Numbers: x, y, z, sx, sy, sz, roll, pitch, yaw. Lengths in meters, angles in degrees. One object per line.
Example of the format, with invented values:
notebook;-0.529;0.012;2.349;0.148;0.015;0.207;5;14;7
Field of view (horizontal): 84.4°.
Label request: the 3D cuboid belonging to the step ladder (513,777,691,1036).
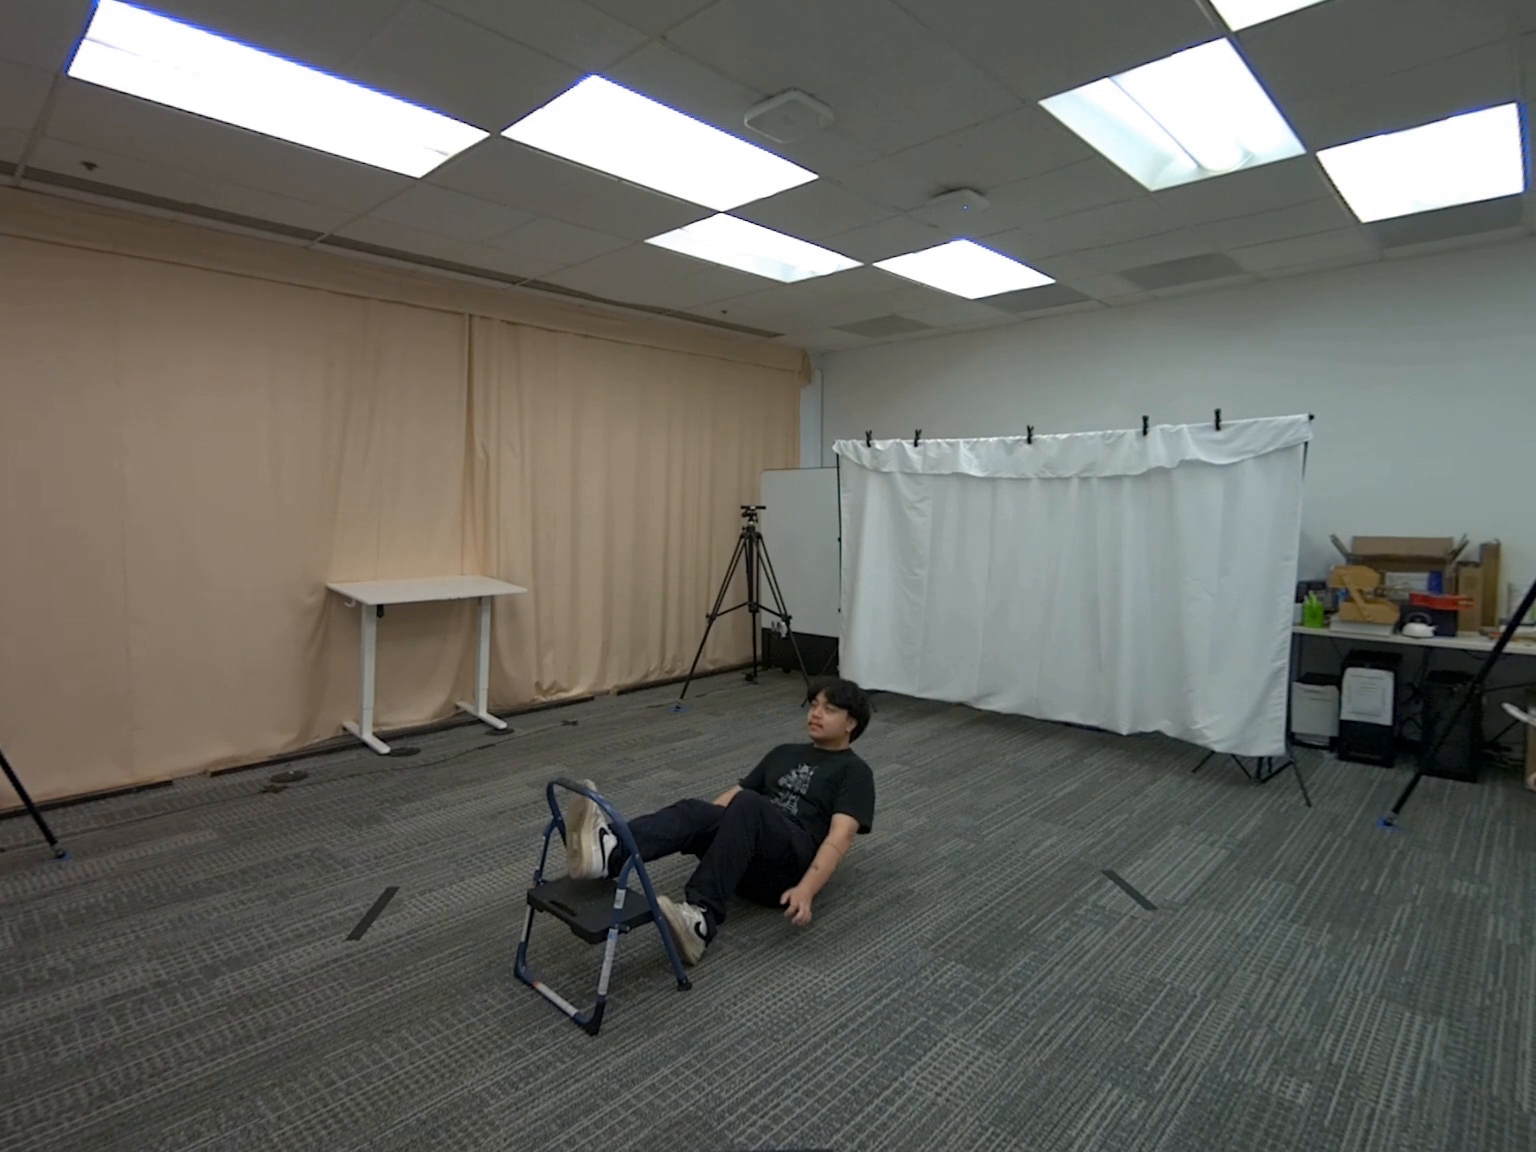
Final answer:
step ladder;-0.496;0.892;2.452;0.445;0.605;0.338;3;4;44
